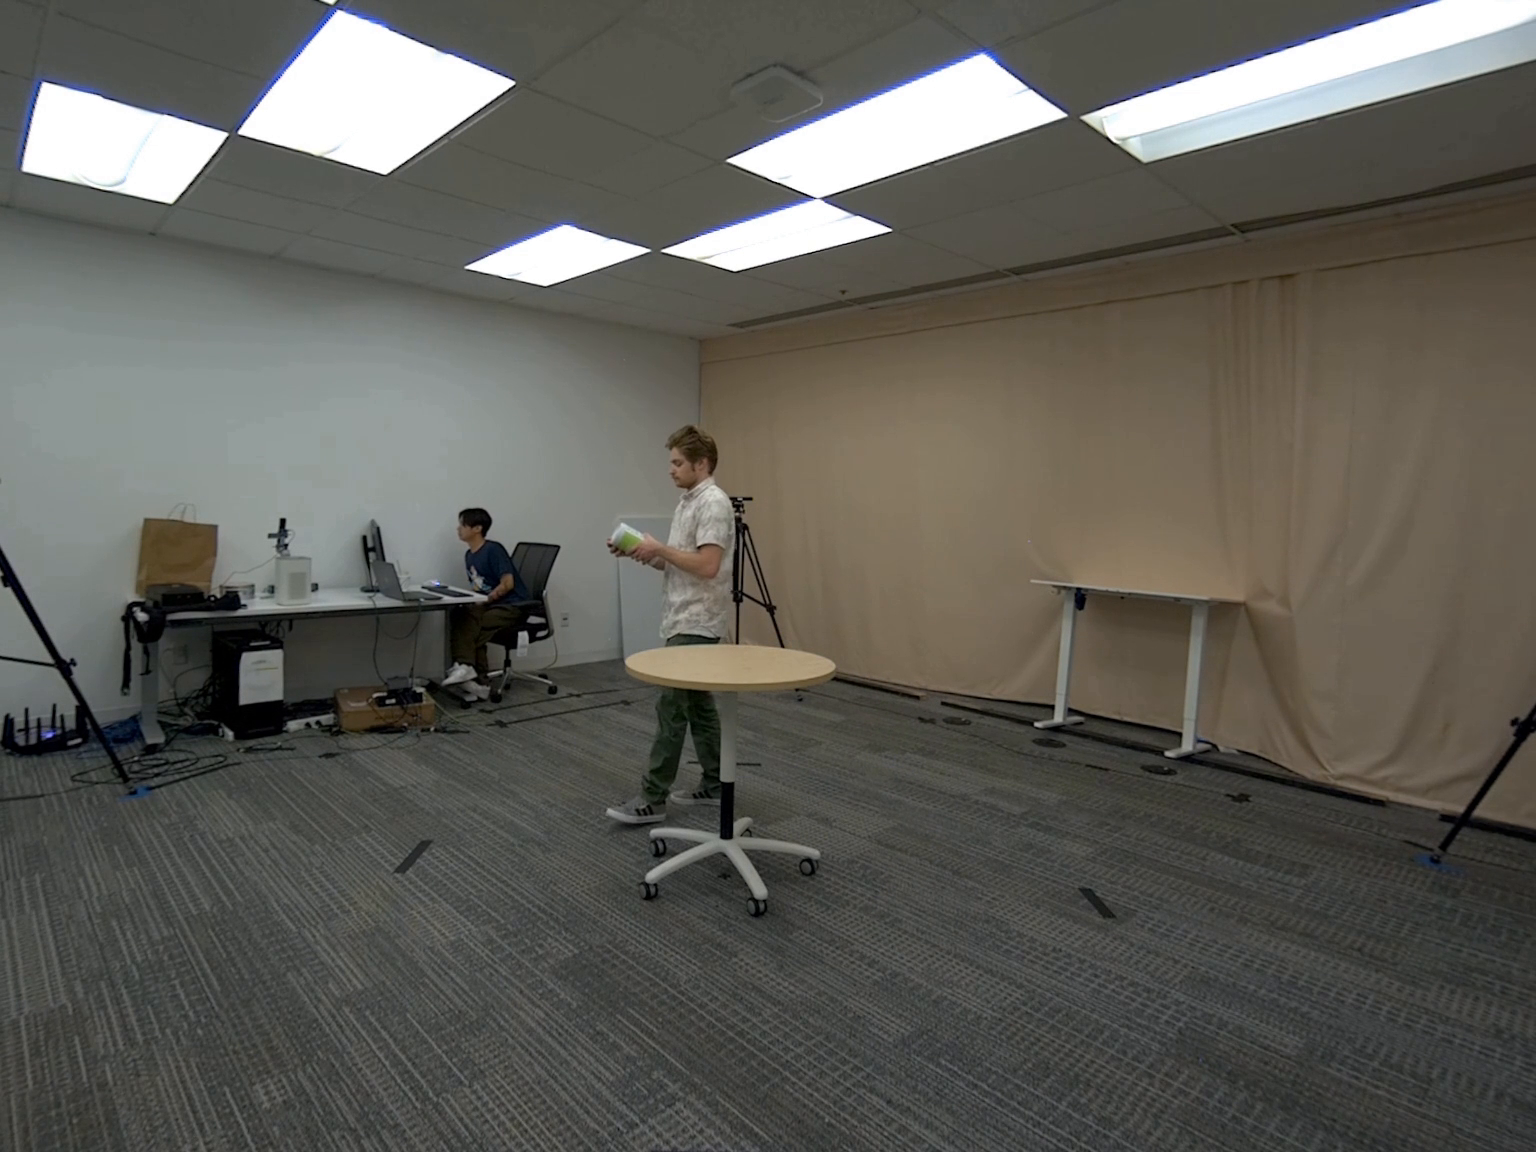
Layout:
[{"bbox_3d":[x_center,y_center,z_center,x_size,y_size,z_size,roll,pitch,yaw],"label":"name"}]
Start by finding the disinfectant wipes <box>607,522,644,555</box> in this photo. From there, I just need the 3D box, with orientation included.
[{"bbox_3d":[-0.585,-0.147,3.729,0.214,0.118,0.119,27,-3,-15],"label":"disinfectant wipes"}]
